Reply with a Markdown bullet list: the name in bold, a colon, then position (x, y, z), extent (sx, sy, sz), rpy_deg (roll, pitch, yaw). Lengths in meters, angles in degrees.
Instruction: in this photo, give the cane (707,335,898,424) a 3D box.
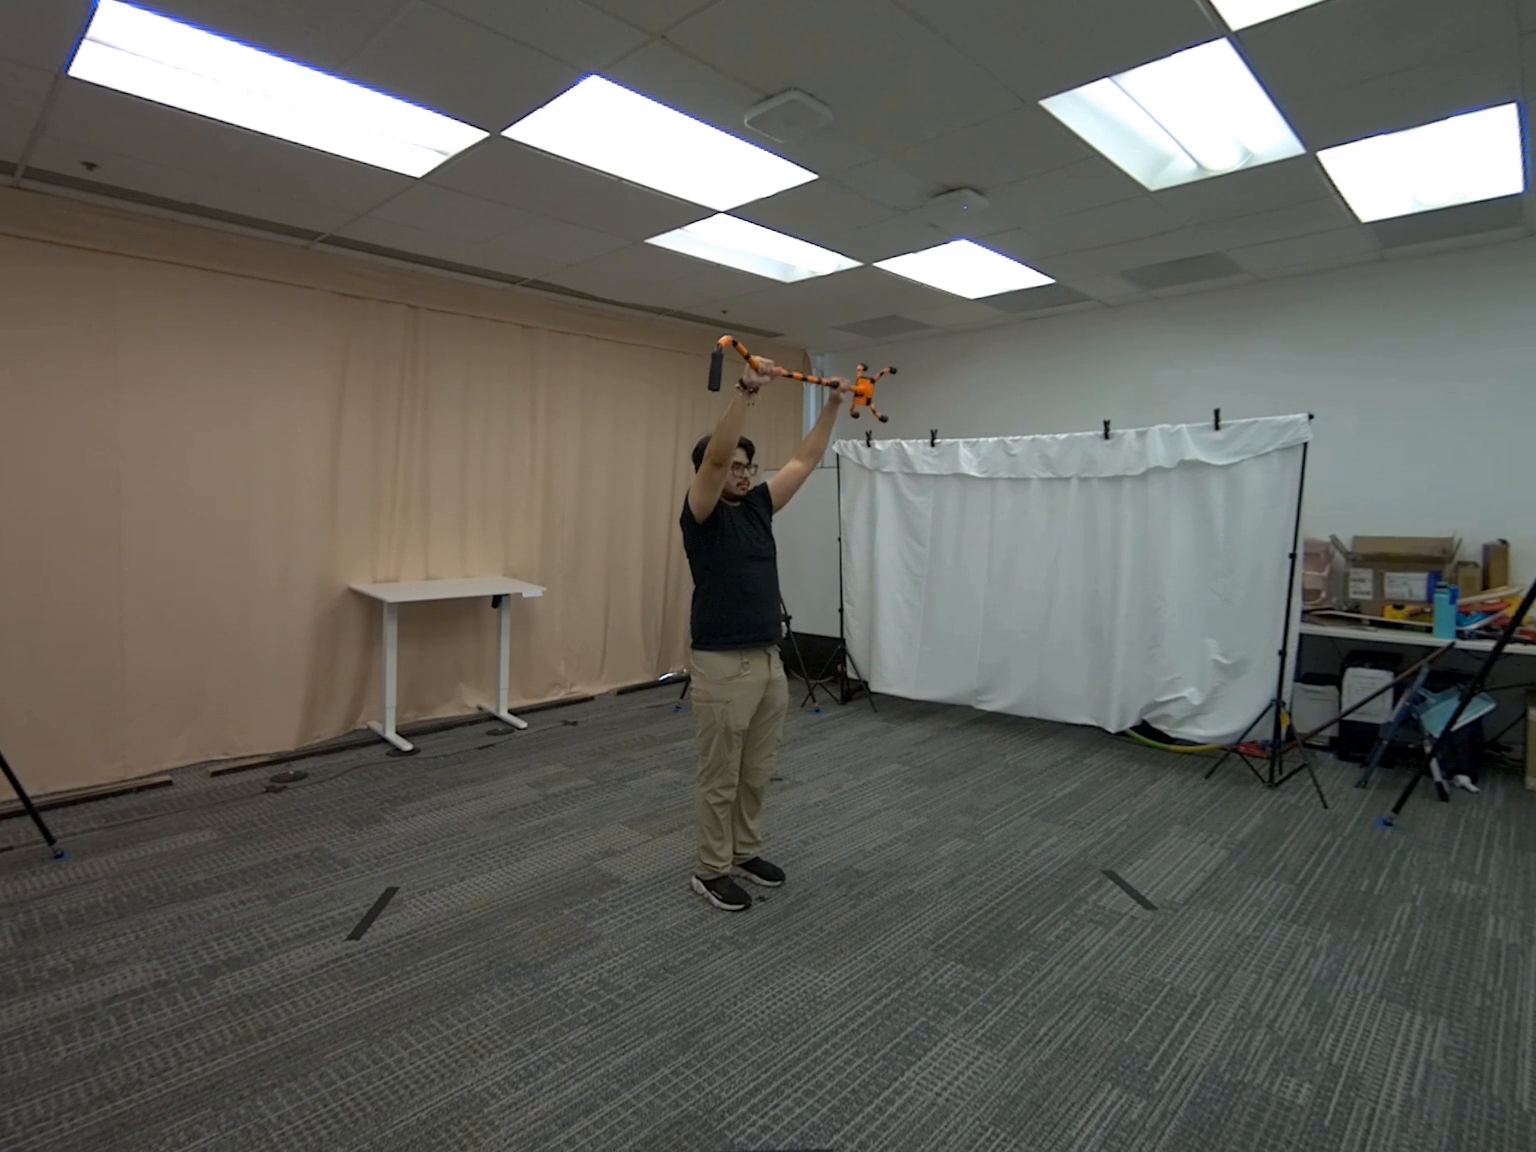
- **cane**: position (0.129, -0.648, 2.764), extent (0.157, 0.205, 0.881), rpy_deg (17, 13, 36)
